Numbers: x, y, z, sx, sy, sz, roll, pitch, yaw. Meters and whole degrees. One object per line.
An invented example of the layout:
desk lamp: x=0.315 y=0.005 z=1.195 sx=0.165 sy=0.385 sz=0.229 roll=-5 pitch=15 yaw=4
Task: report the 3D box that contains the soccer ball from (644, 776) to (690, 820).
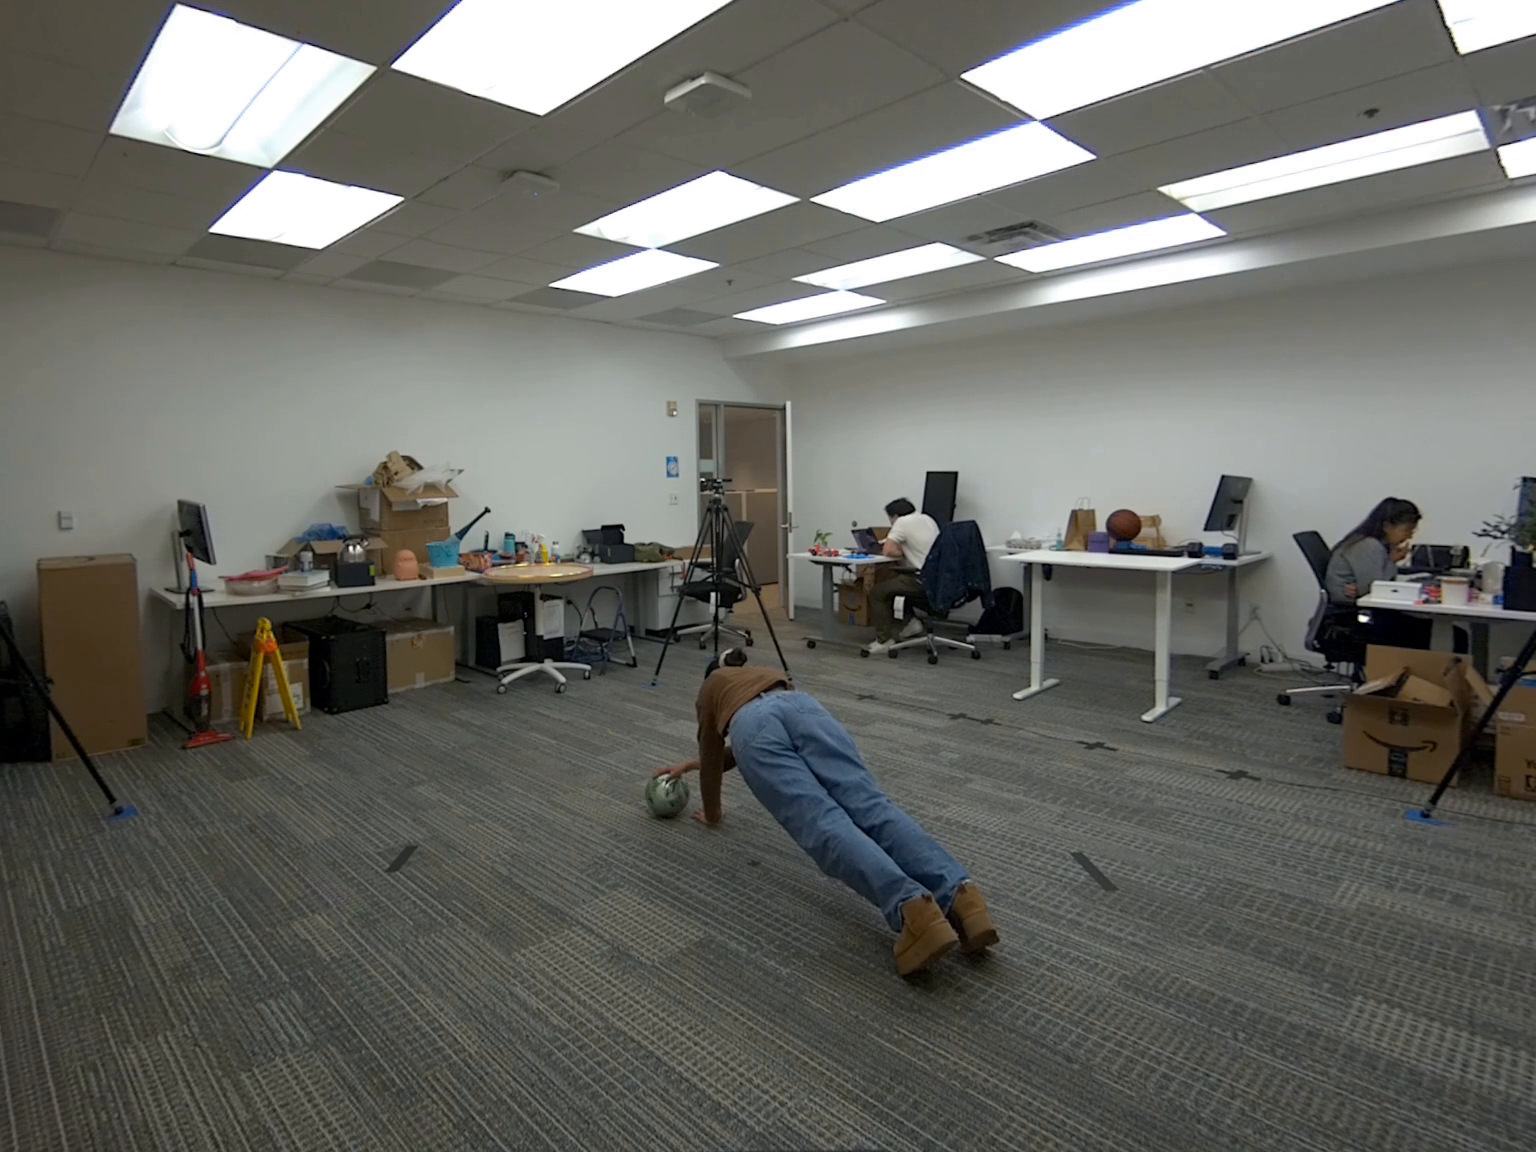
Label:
soccer ball: x=-0.407 y=0.910 z=3.571 sx=0.187 sy=0.187 sz=0.188 roll=-1 pitch=5 yaw=-2
